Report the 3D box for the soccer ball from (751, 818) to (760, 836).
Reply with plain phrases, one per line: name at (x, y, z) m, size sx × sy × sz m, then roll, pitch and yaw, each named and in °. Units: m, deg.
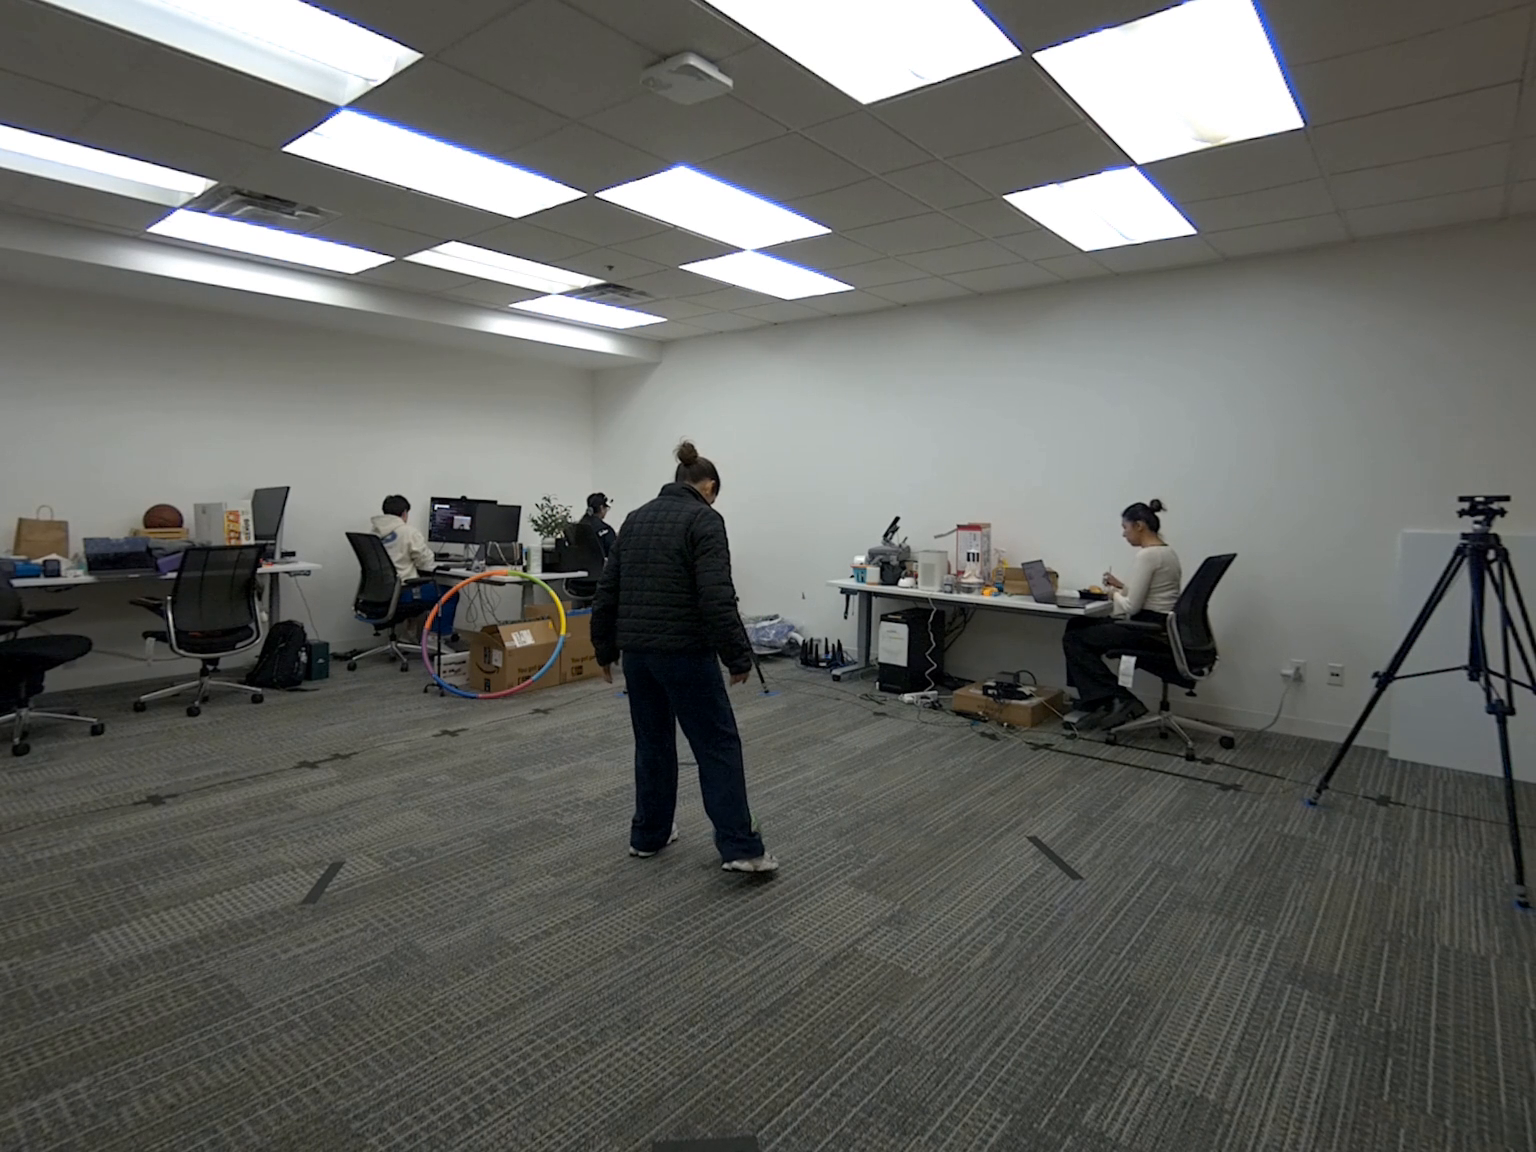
soccer ball at (-0.120, 0.963, 3.187) m, size 0.187 × 0.187 × 0.188 m, roll 1°, pitch 4°, yaw -2°
